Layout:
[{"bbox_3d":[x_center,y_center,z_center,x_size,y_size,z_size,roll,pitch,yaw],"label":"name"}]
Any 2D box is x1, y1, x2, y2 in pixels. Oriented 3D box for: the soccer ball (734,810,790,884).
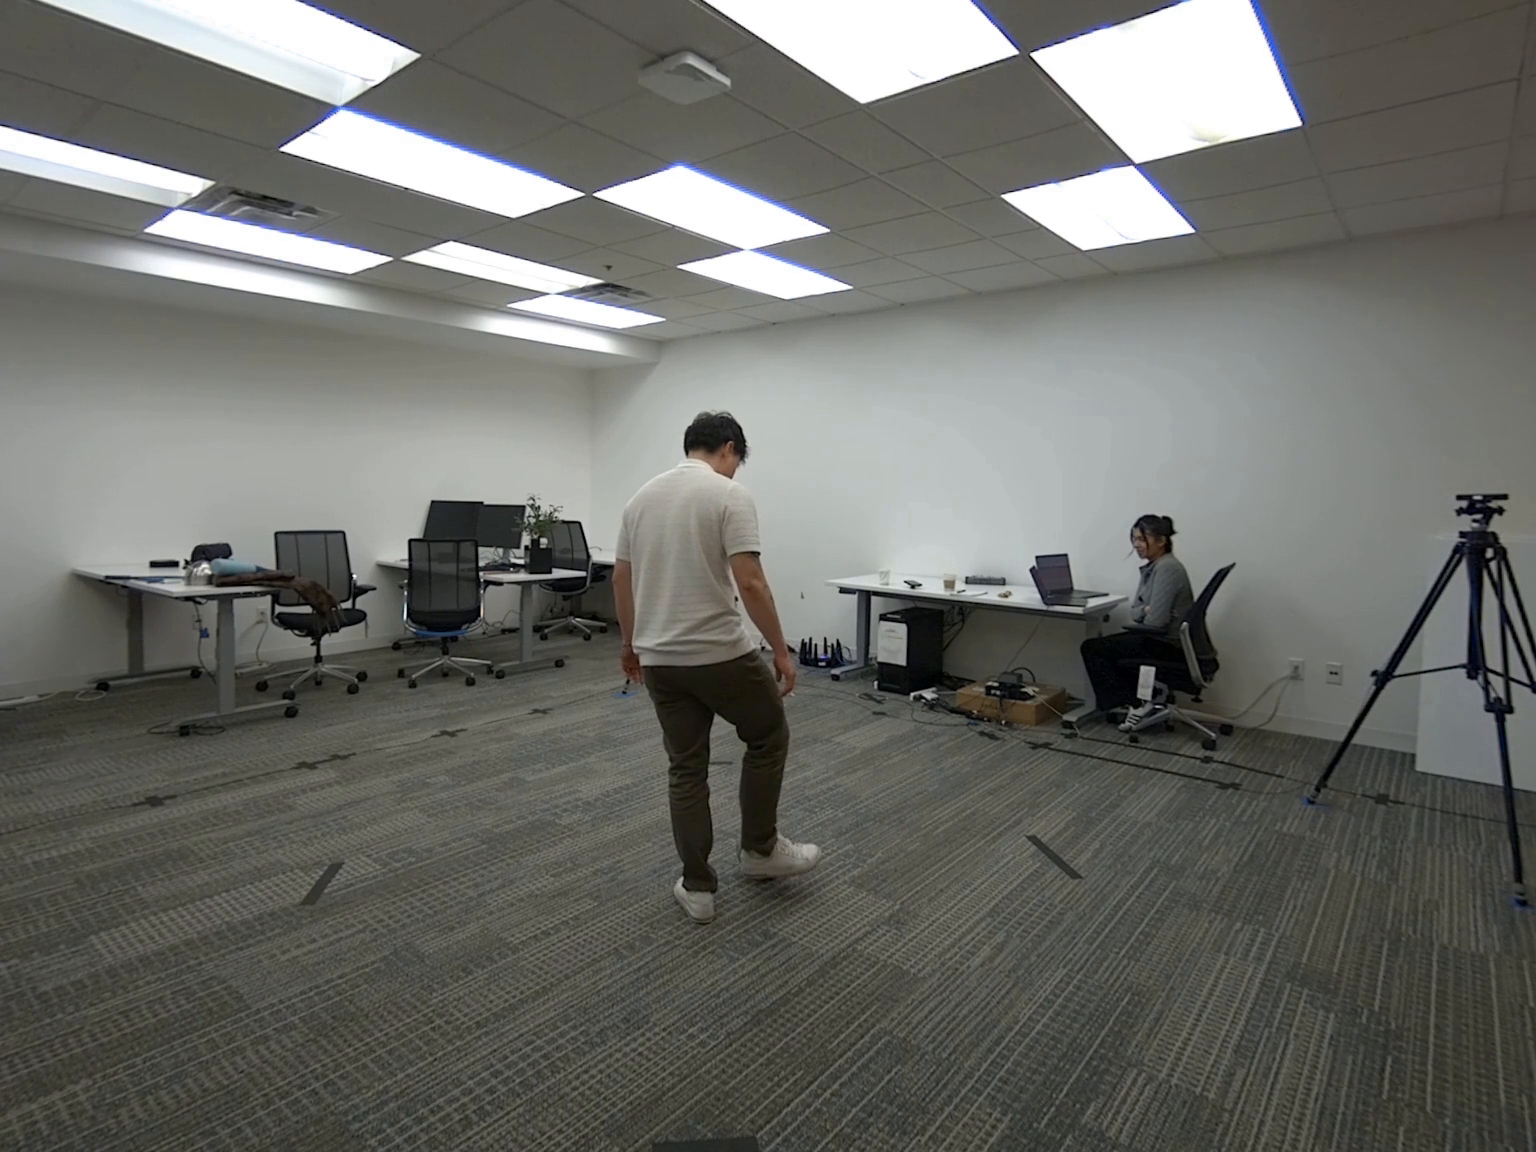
[{"bbox_3d":[-0.026,0.977,3.052,0.187,0.187,0.188,1,4,-2],"label":"soccer ball"}]
